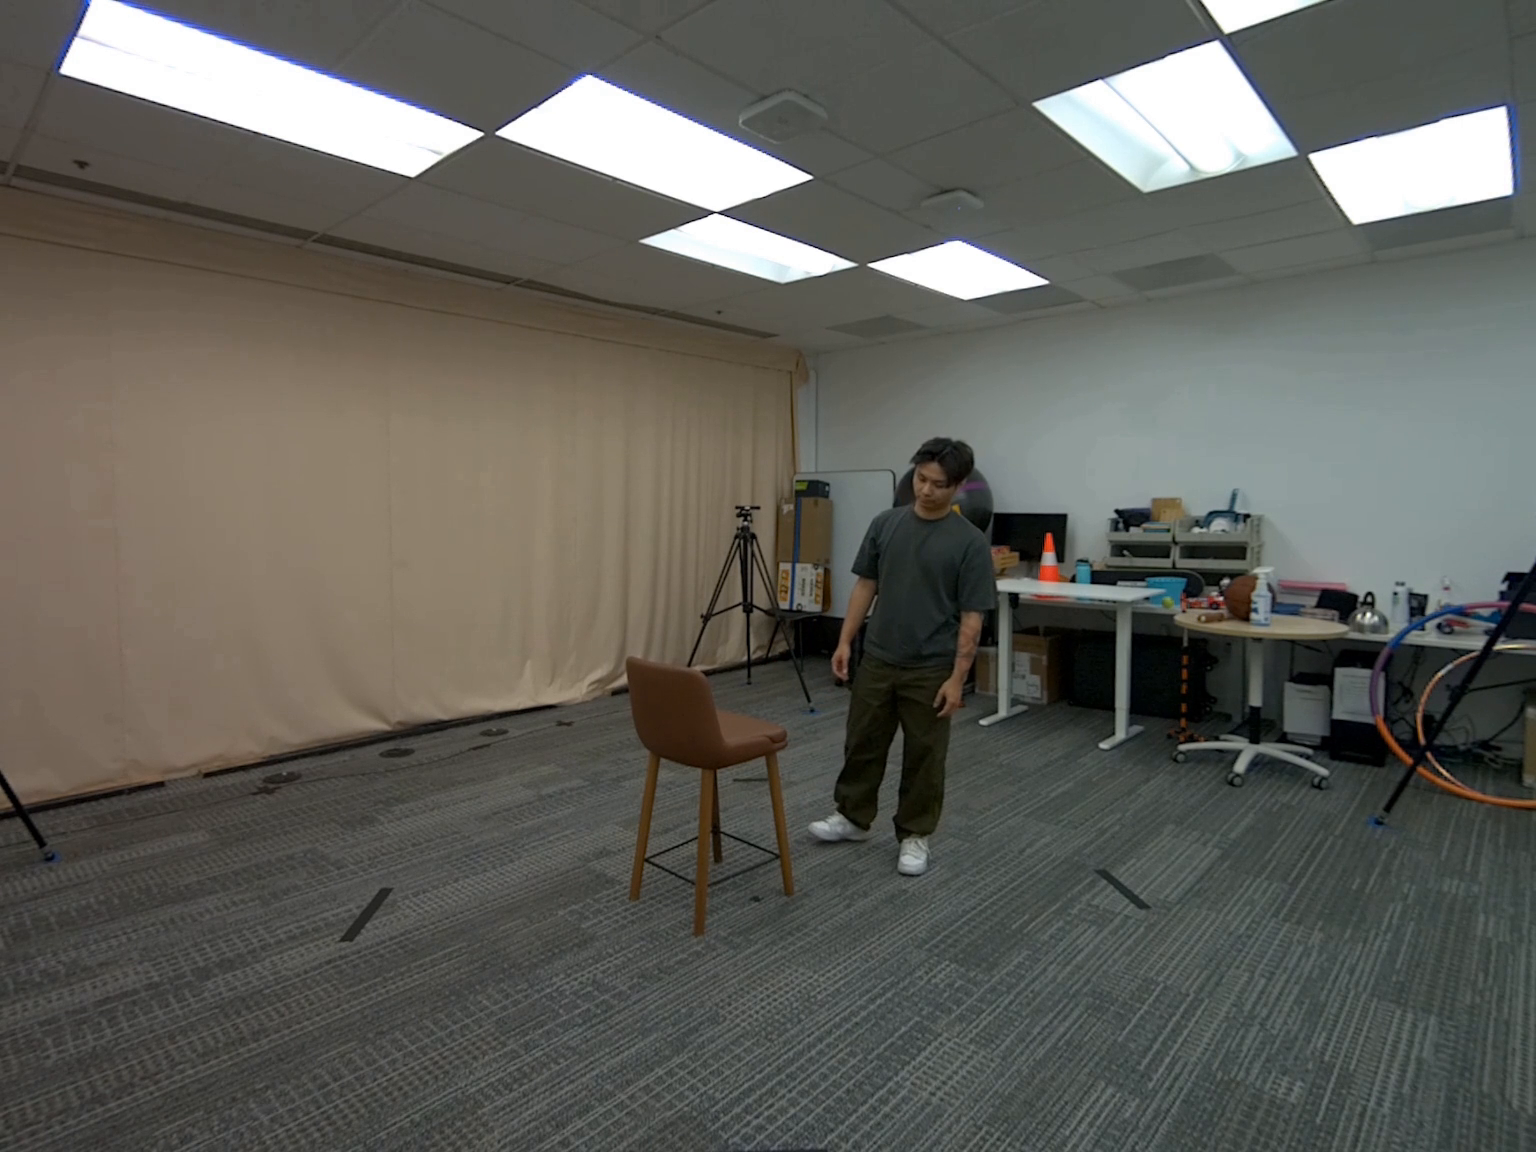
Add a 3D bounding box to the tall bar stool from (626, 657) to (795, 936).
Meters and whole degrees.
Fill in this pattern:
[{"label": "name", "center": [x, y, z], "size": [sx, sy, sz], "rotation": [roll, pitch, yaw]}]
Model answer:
[{"label": "tall bar stool", "center": [-0.198, 0.707, 2.980], "size": [0.454, 0.887, 0.472], "rotation": [-6, 7, -44]}]
